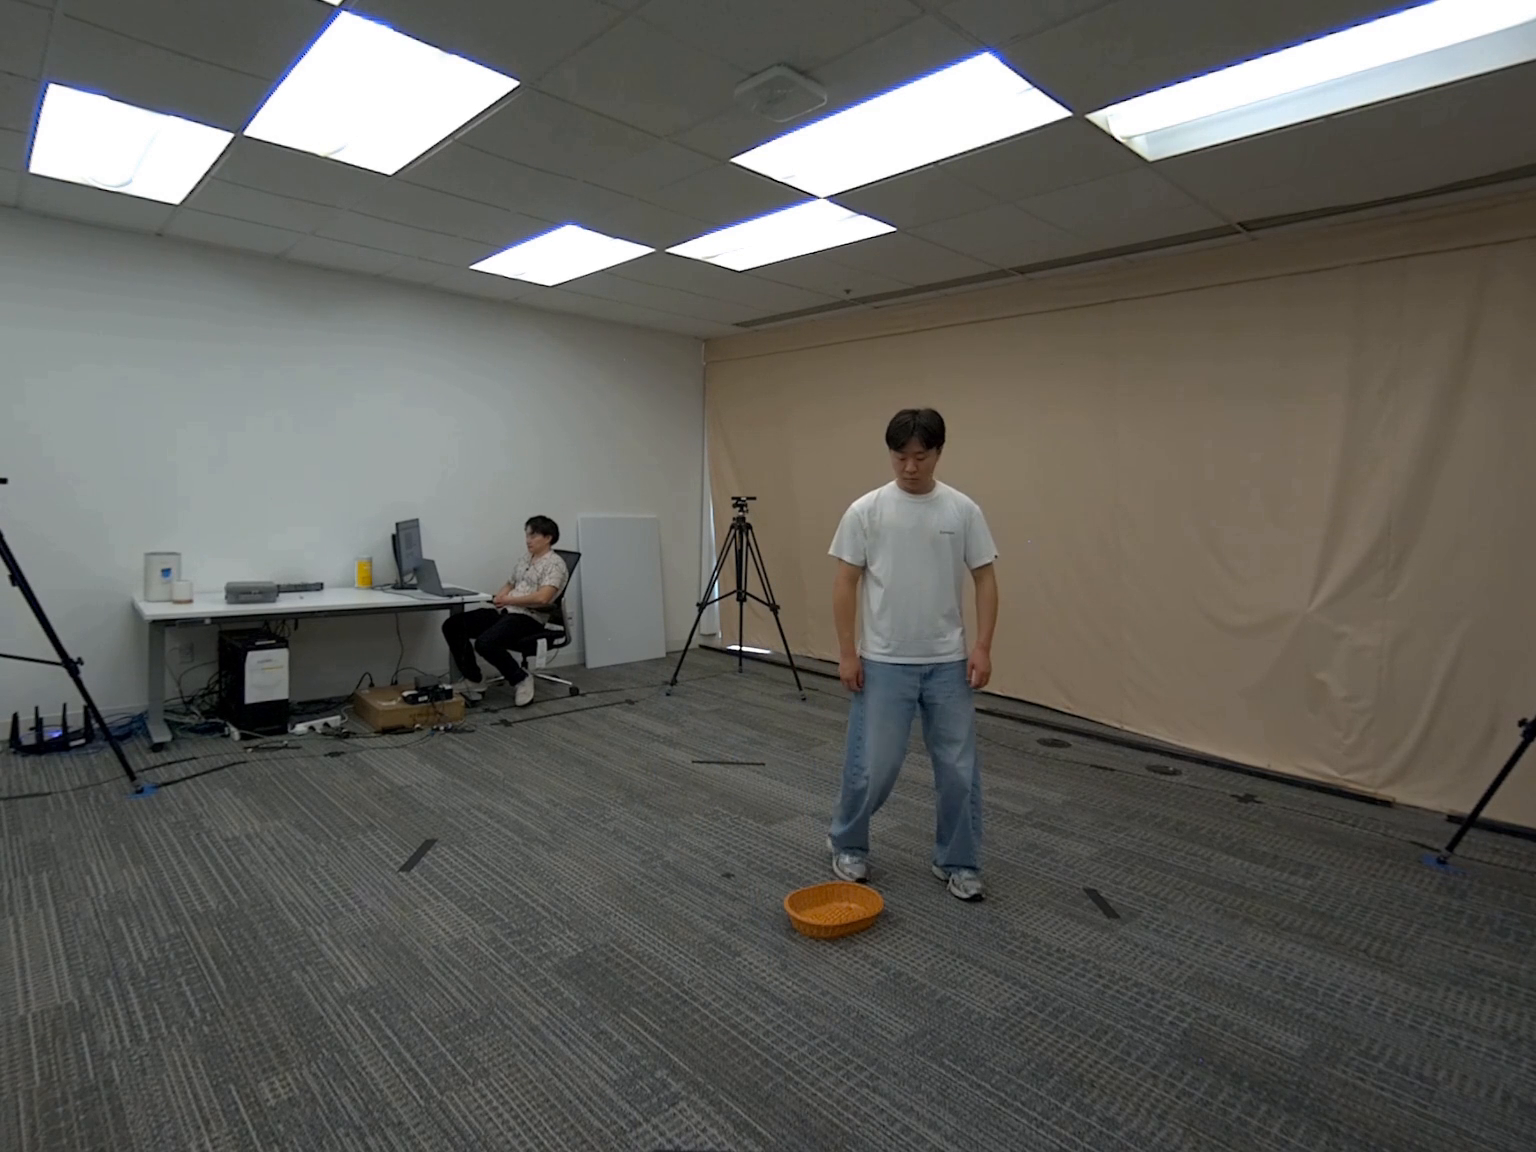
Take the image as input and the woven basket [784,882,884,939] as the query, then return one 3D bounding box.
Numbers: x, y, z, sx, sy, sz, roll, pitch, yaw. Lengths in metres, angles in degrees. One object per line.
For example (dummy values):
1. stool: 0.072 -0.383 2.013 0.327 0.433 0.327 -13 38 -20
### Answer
1. woven basket: 0.207 1.107 2.780 0.344 0.073 0.258 -1 6 -26
